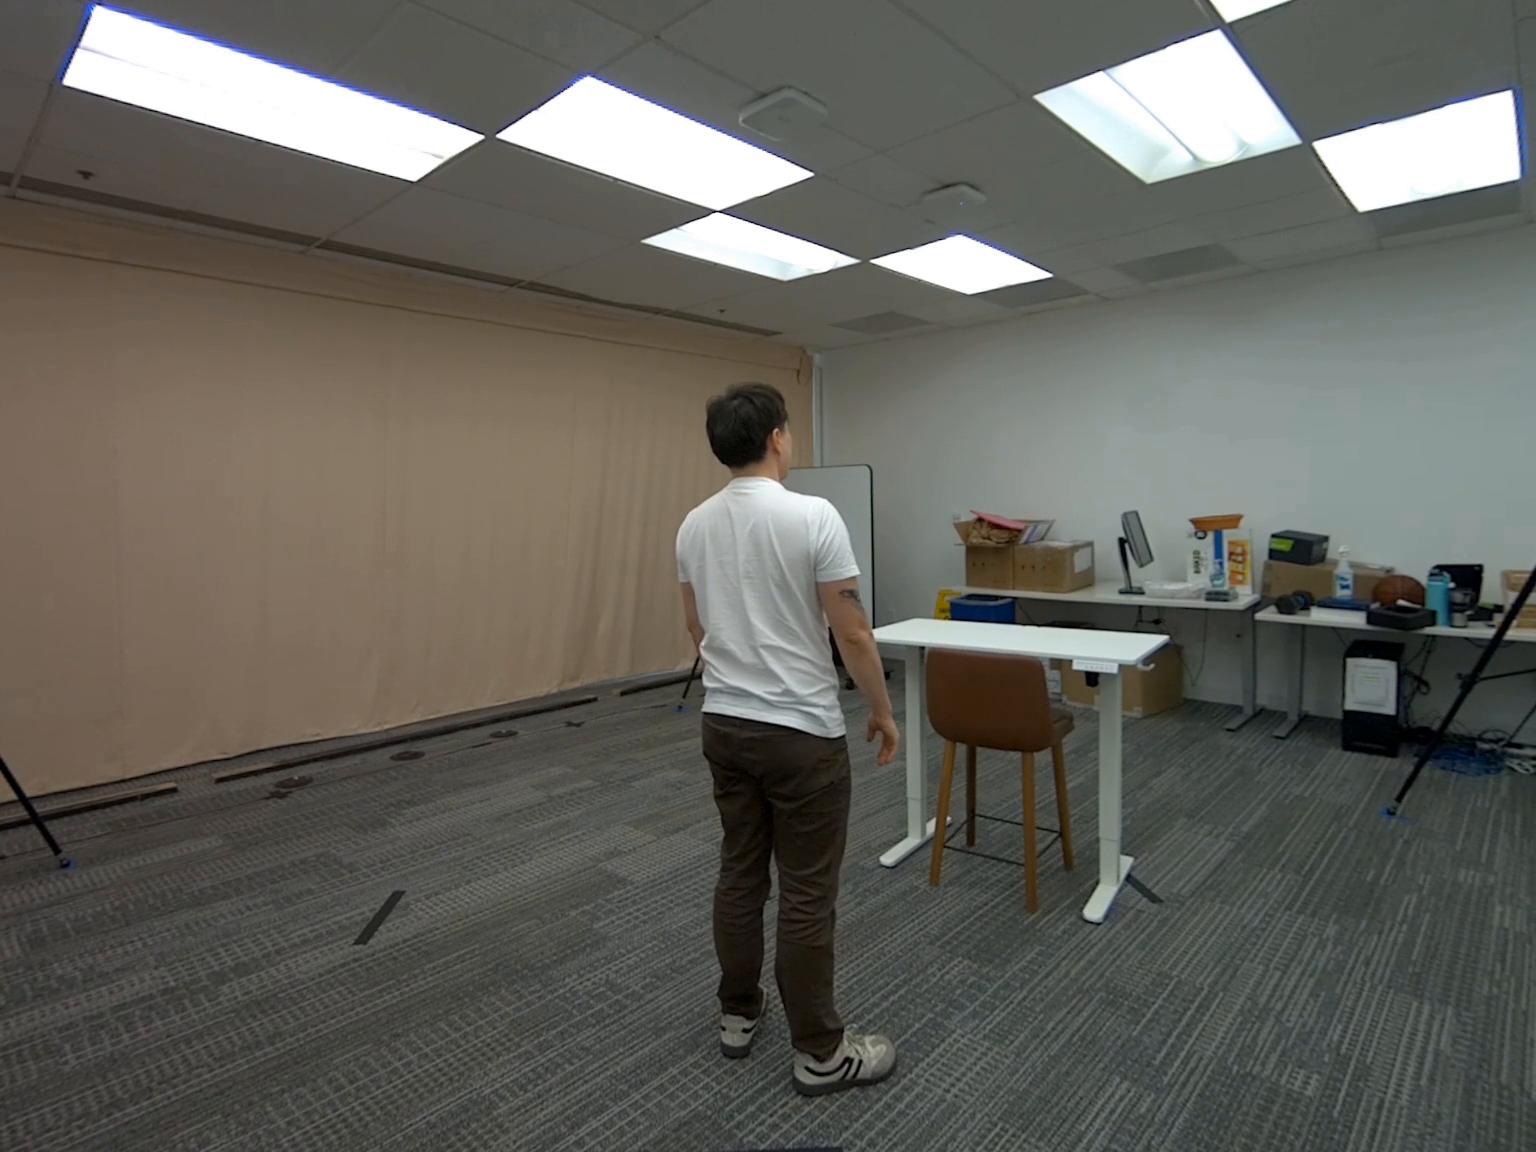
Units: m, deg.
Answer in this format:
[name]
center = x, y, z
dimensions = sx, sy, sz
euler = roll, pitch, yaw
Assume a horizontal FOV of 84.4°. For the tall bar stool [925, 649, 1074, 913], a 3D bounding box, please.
[tall bar stool]
center = 0.858, 0.682, 3.097
dimensions = 0.471, 0.887, 0.454
euler = 1, 5, 36
